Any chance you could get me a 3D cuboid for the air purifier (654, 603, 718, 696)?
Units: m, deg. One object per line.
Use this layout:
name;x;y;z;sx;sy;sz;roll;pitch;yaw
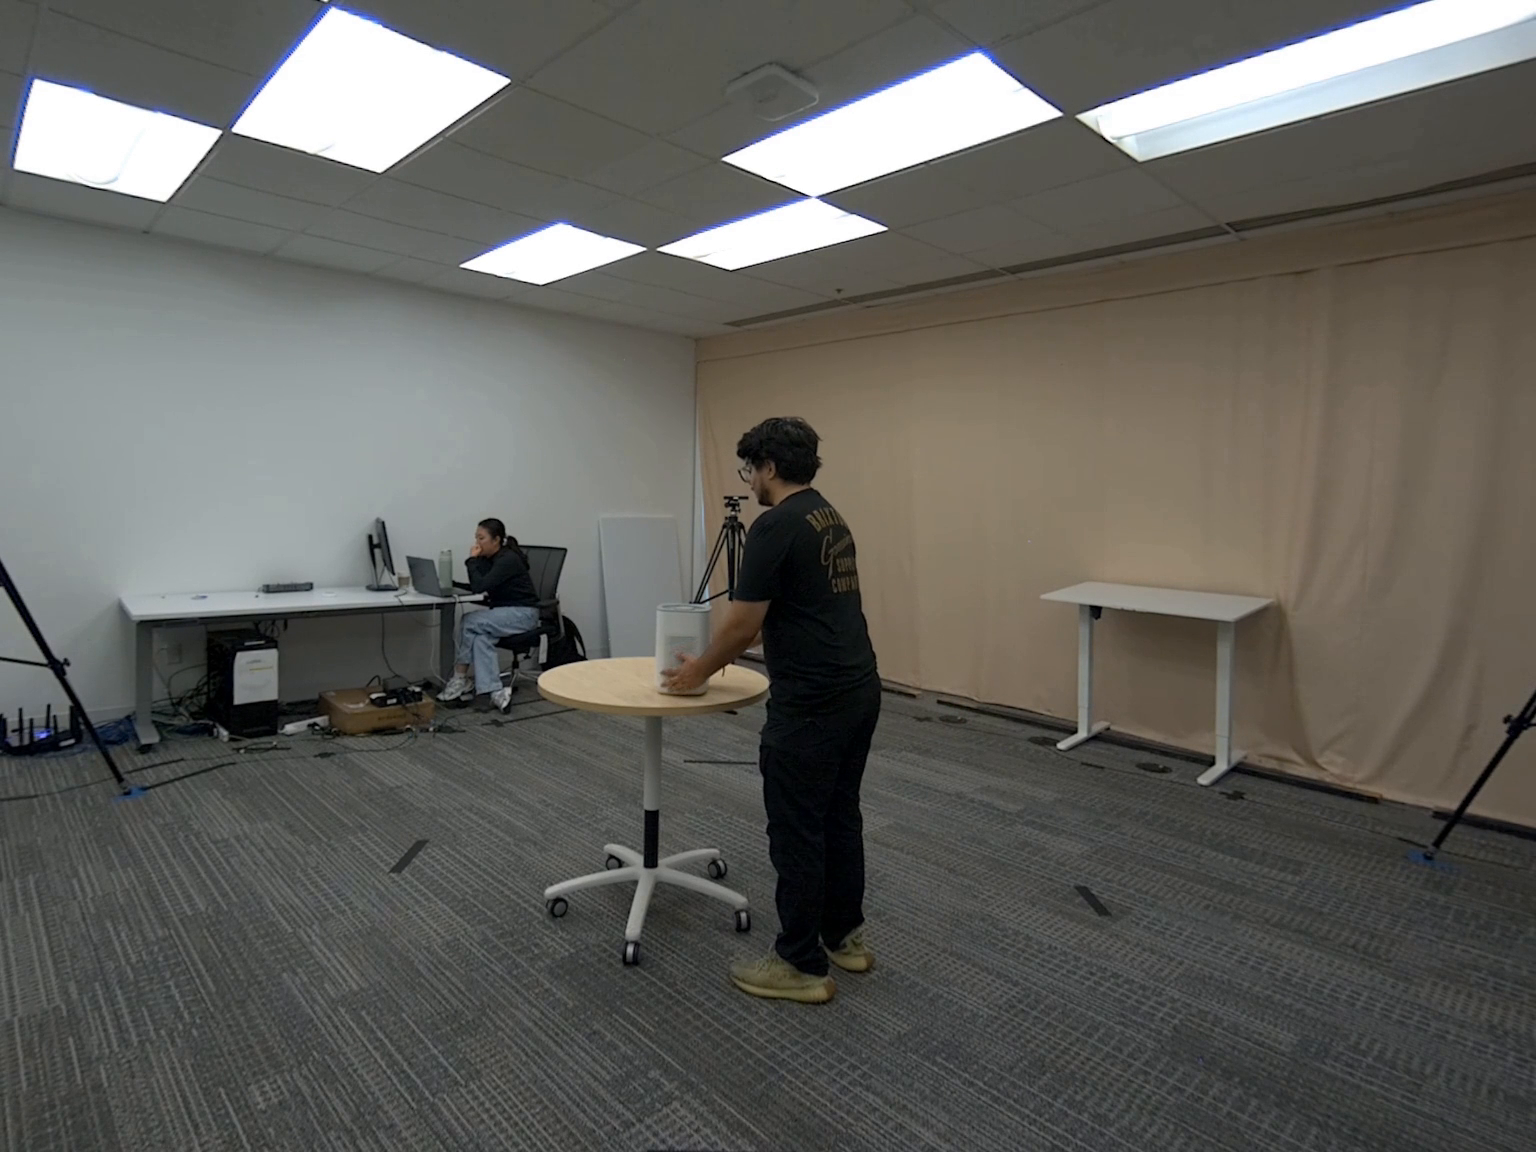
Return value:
air purifier;-0.267;0.229;2.648;0.172;0.265;0.171;1;2;2
